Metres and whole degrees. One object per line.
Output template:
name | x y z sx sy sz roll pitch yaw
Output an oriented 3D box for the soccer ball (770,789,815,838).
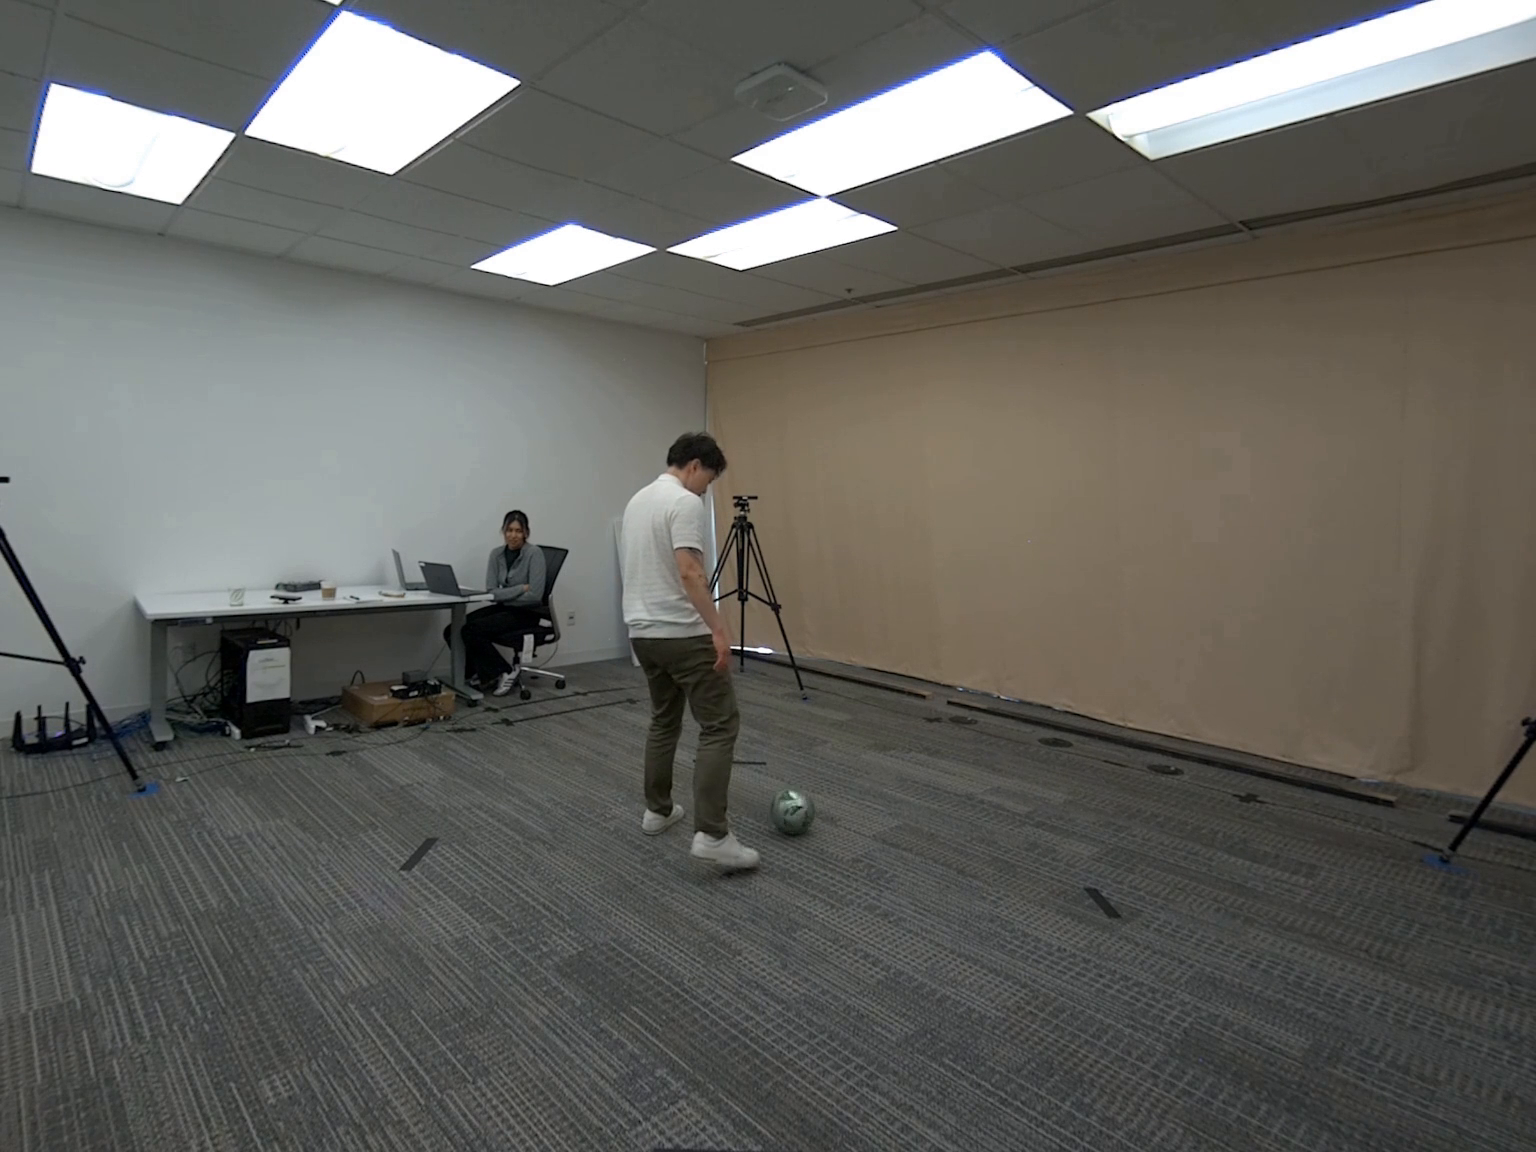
soccer ball | 0.087 0.978 3.509 0.187 0.187 0.188 1 4 -1
